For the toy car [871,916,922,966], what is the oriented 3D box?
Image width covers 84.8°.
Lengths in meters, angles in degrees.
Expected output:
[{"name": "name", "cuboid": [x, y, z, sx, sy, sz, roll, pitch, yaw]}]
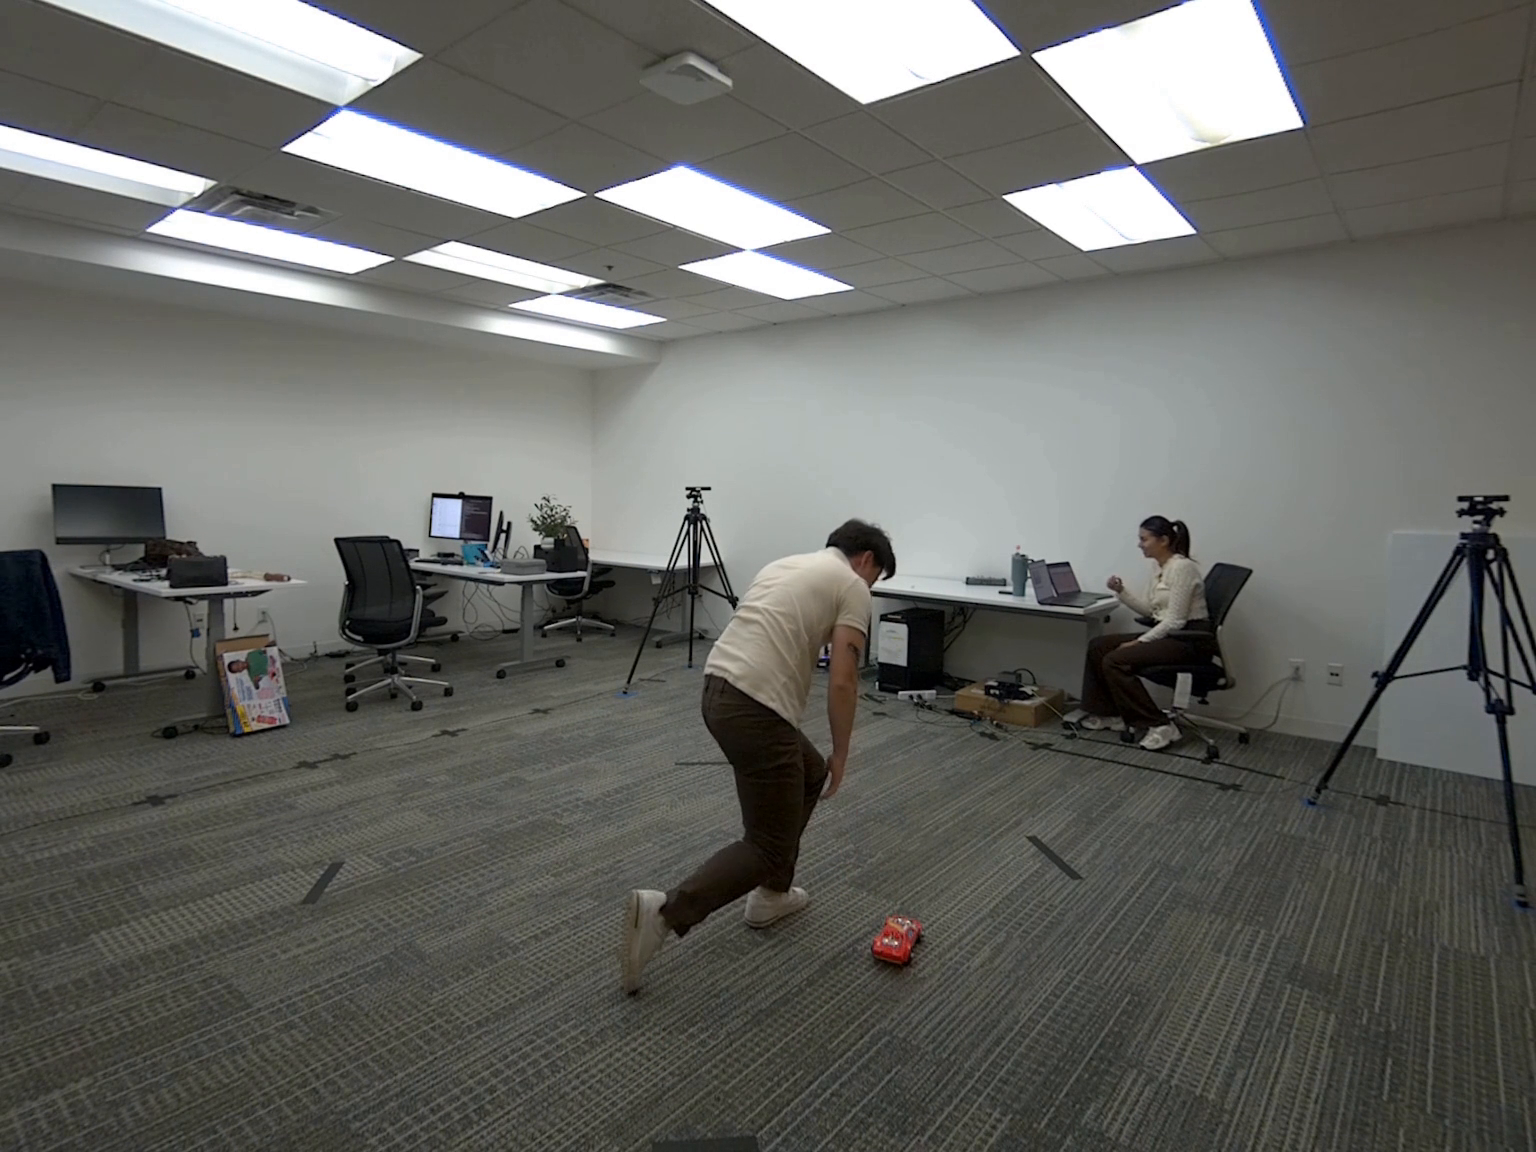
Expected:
[{"name": "toy car", "cuboid": [0.387, 1.102, 2.572, 0.133, 0.083, 0.247, 4, -4, 23]}]
